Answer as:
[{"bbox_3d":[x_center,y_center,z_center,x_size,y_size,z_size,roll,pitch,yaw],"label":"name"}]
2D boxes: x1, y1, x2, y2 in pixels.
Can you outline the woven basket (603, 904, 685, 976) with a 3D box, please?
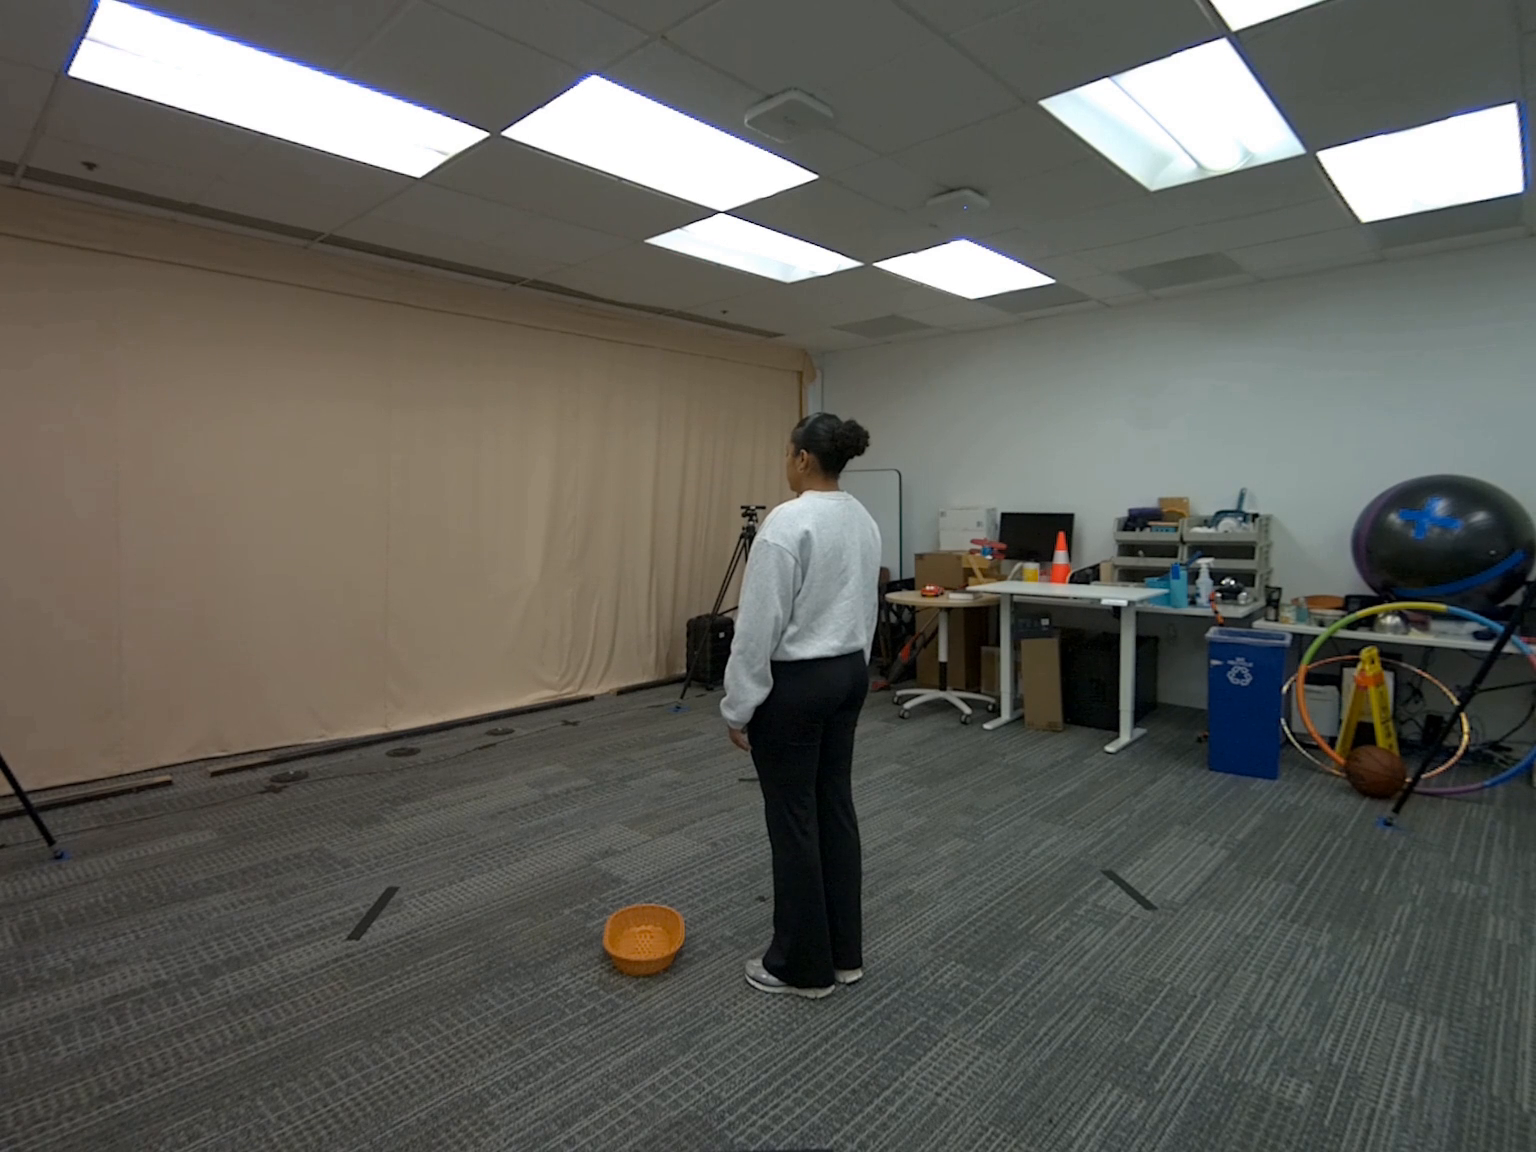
[{"bbox_3d":[-0.385,1.136,2.636,0.252,0.073,0.352,0,5,-2],"label":"woven basket"}]
